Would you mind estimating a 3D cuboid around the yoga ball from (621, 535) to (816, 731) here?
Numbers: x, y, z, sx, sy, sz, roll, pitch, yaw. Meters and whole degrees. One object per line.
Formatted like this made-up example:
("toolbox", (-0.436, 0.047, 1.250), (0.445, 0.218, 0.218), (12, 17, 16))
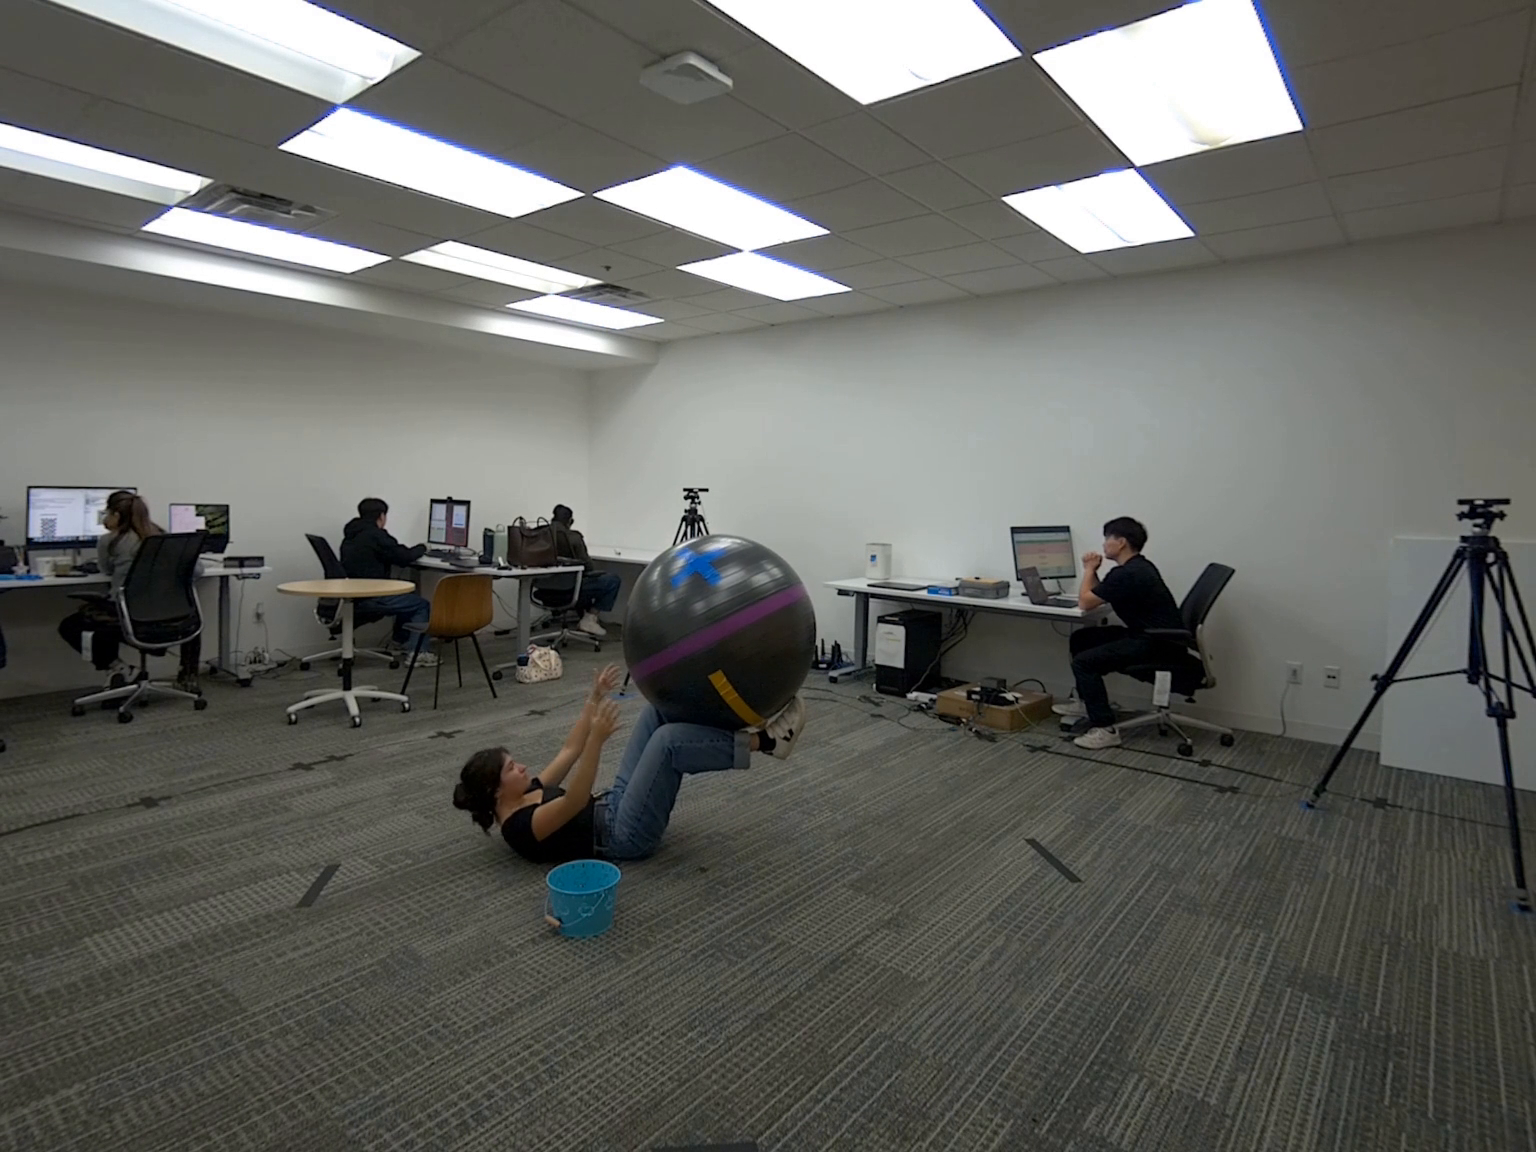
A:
("yoga ball", (-0.207, 0.218, 3.308), (0.757, 0.756, 0.761), (1, 4, -2))
